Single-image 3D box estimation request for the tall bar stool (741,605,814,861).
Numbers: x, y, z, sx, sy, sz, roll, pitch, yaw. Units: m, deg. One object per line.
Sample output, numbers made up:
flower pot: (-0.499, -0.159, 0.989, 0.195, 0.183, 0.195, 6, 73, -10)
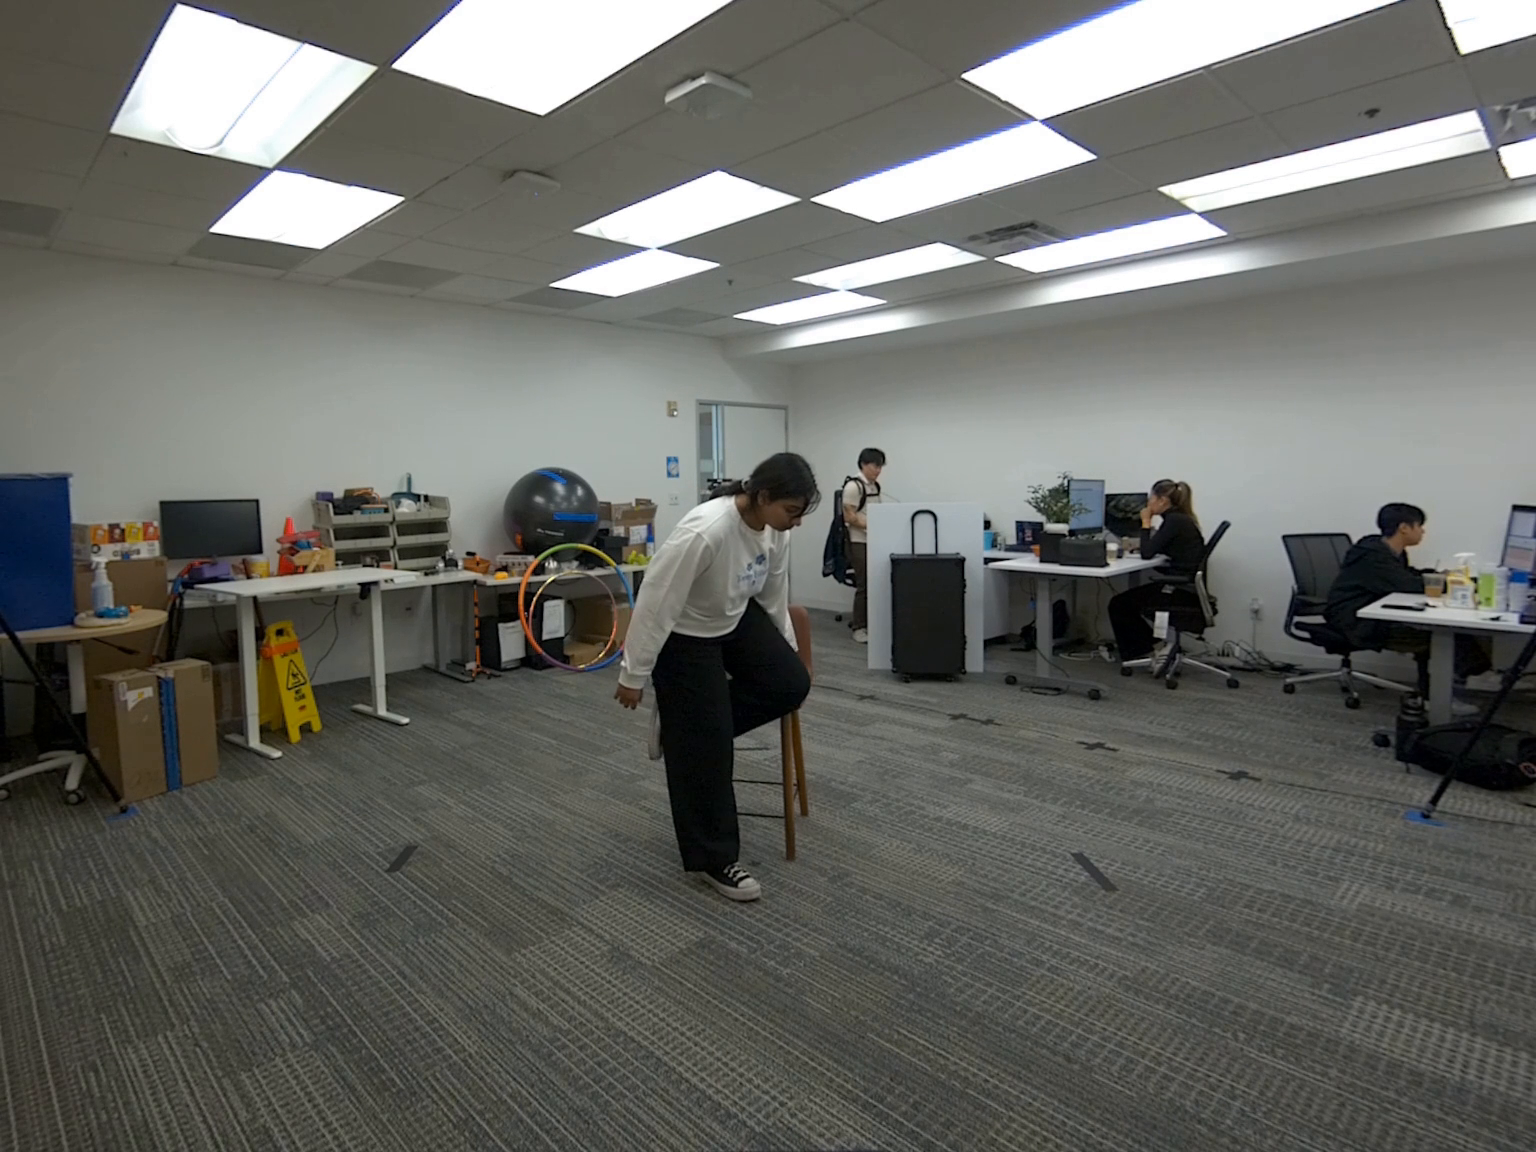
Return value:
tall bar stool: (-0.059, 0.582, 3.371, 0.463, 0.888, 0.462, 0, 2, 14)
